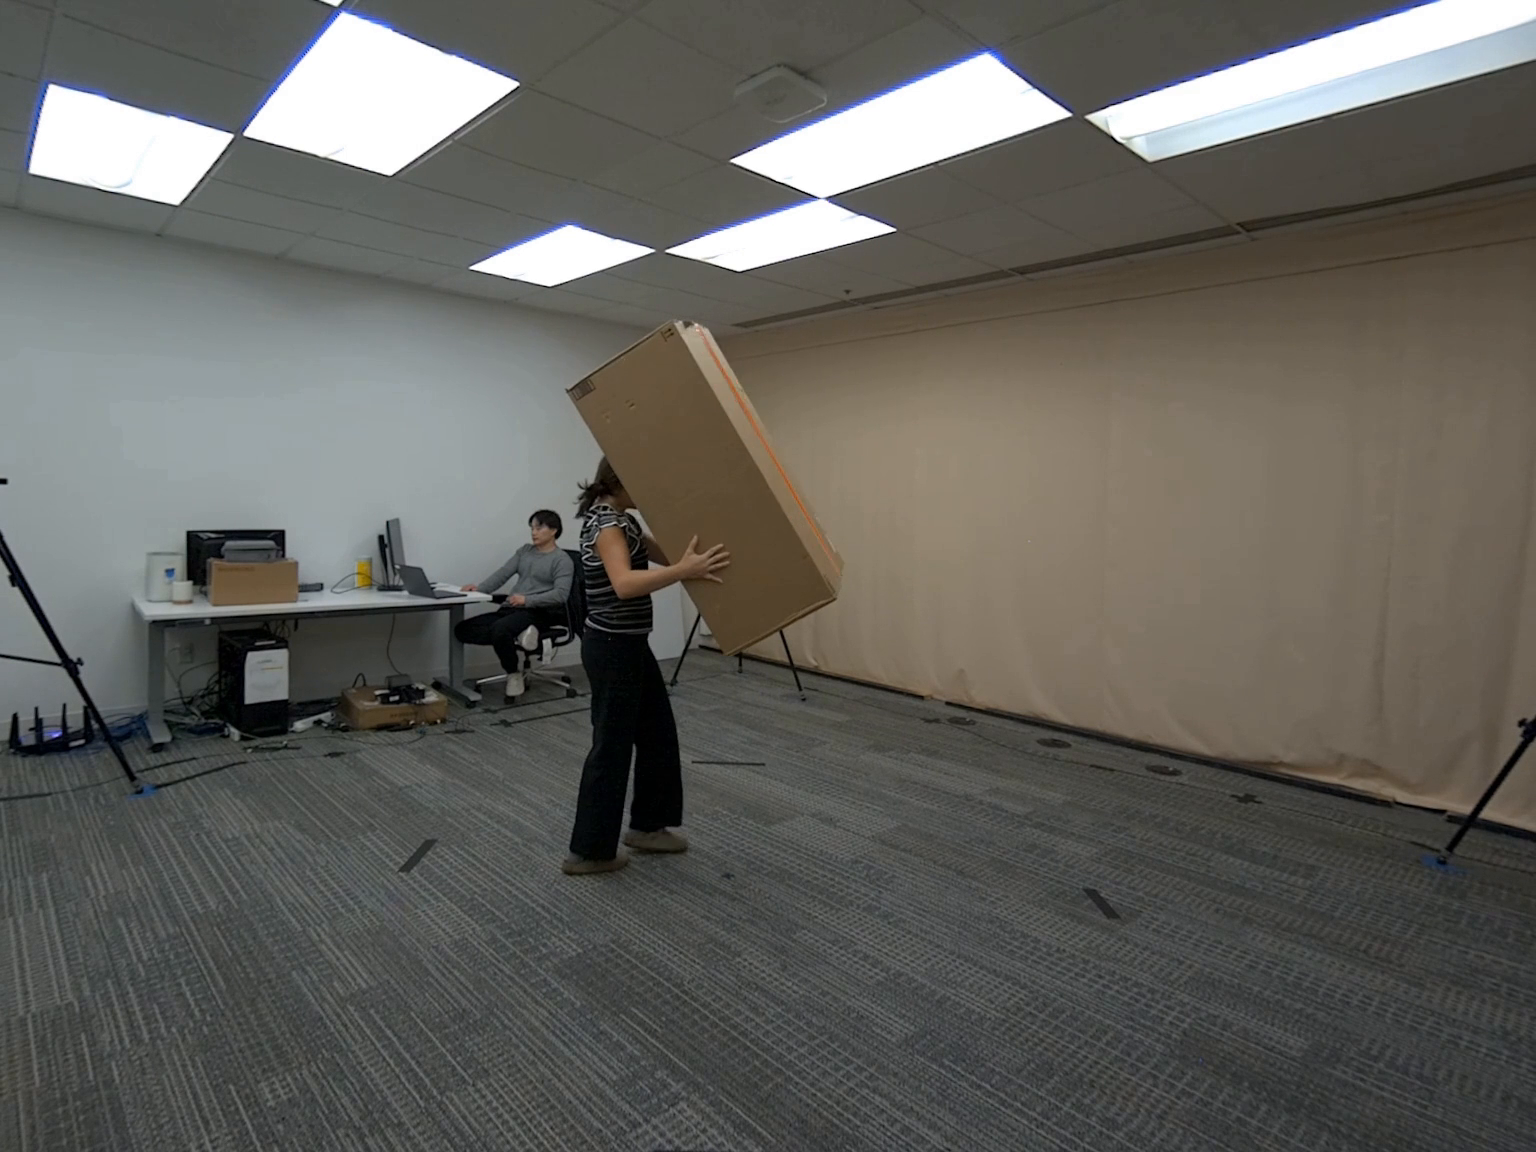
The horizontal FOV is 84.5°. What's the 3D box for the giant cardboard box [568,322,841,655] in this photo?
[{"bbox_3d":[-0.182,-0.322,2.965,0.428,1.021,0.577,-30,4,12],"label":"giant cardboard box"}]
